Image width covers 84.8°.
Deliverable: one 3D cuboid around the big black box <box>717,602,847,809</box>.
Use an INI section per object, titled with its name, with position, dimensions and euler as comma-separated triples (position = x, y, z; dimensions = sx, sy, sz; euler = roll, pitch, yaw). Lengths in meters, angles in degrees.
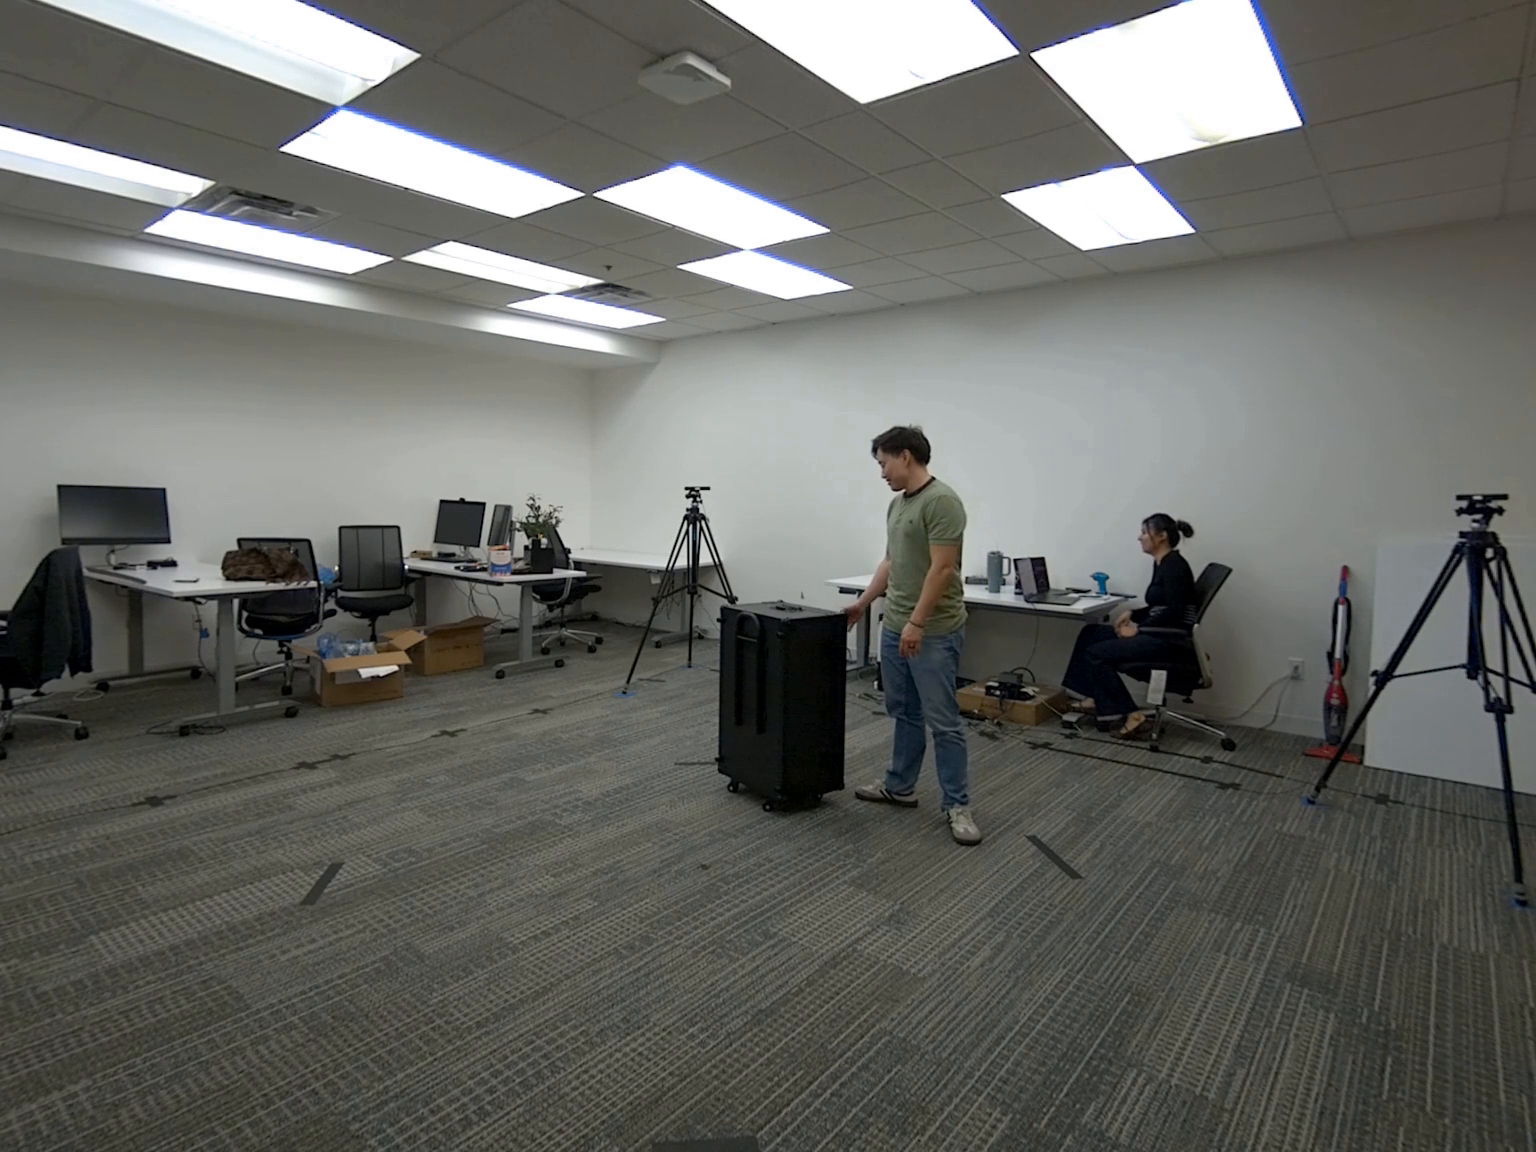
[big black box]
position = 0.040, 0.572, 3.839
dimensions = 0.385, 0.858, 0.538
euler = -2, 5, -36
